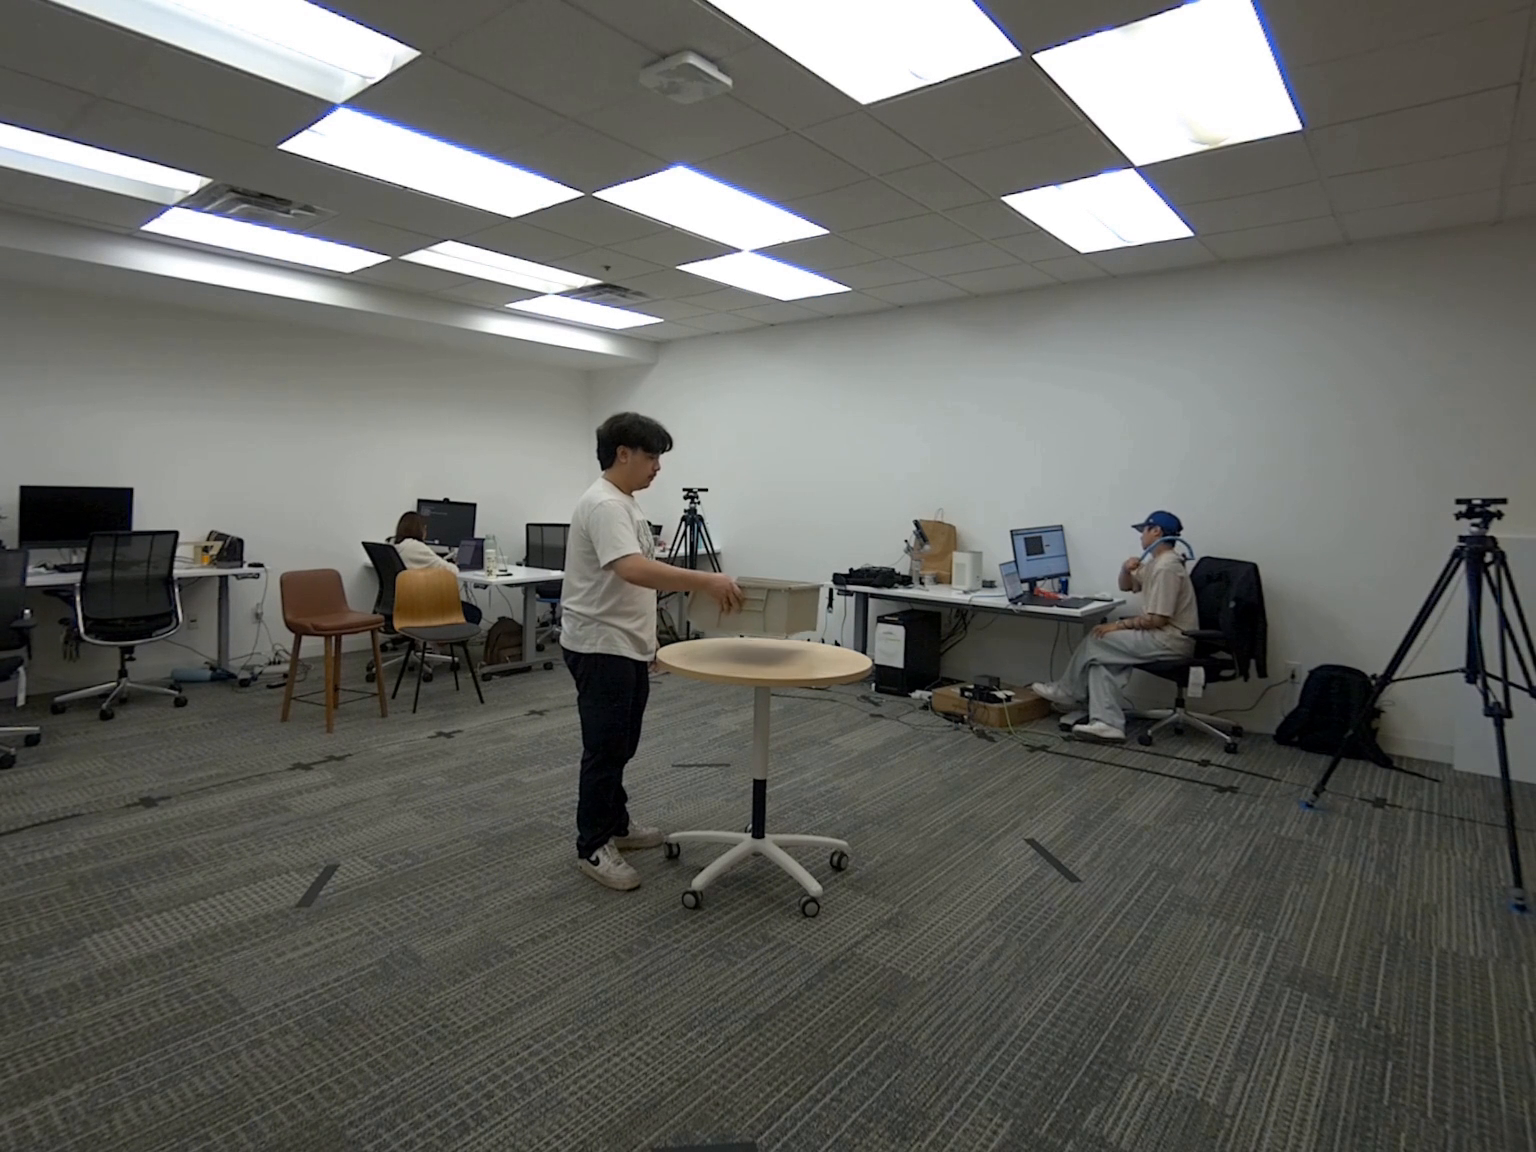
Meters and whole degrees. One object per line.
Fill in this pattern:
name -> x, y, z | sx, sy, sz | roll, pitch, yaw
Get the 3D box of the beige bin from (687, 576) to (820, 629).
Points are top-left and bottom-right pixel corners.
beige bin -> -0.050, 0.103, 3.055 | 0.386, 0.189, 0.413 | 6, 3, 21
